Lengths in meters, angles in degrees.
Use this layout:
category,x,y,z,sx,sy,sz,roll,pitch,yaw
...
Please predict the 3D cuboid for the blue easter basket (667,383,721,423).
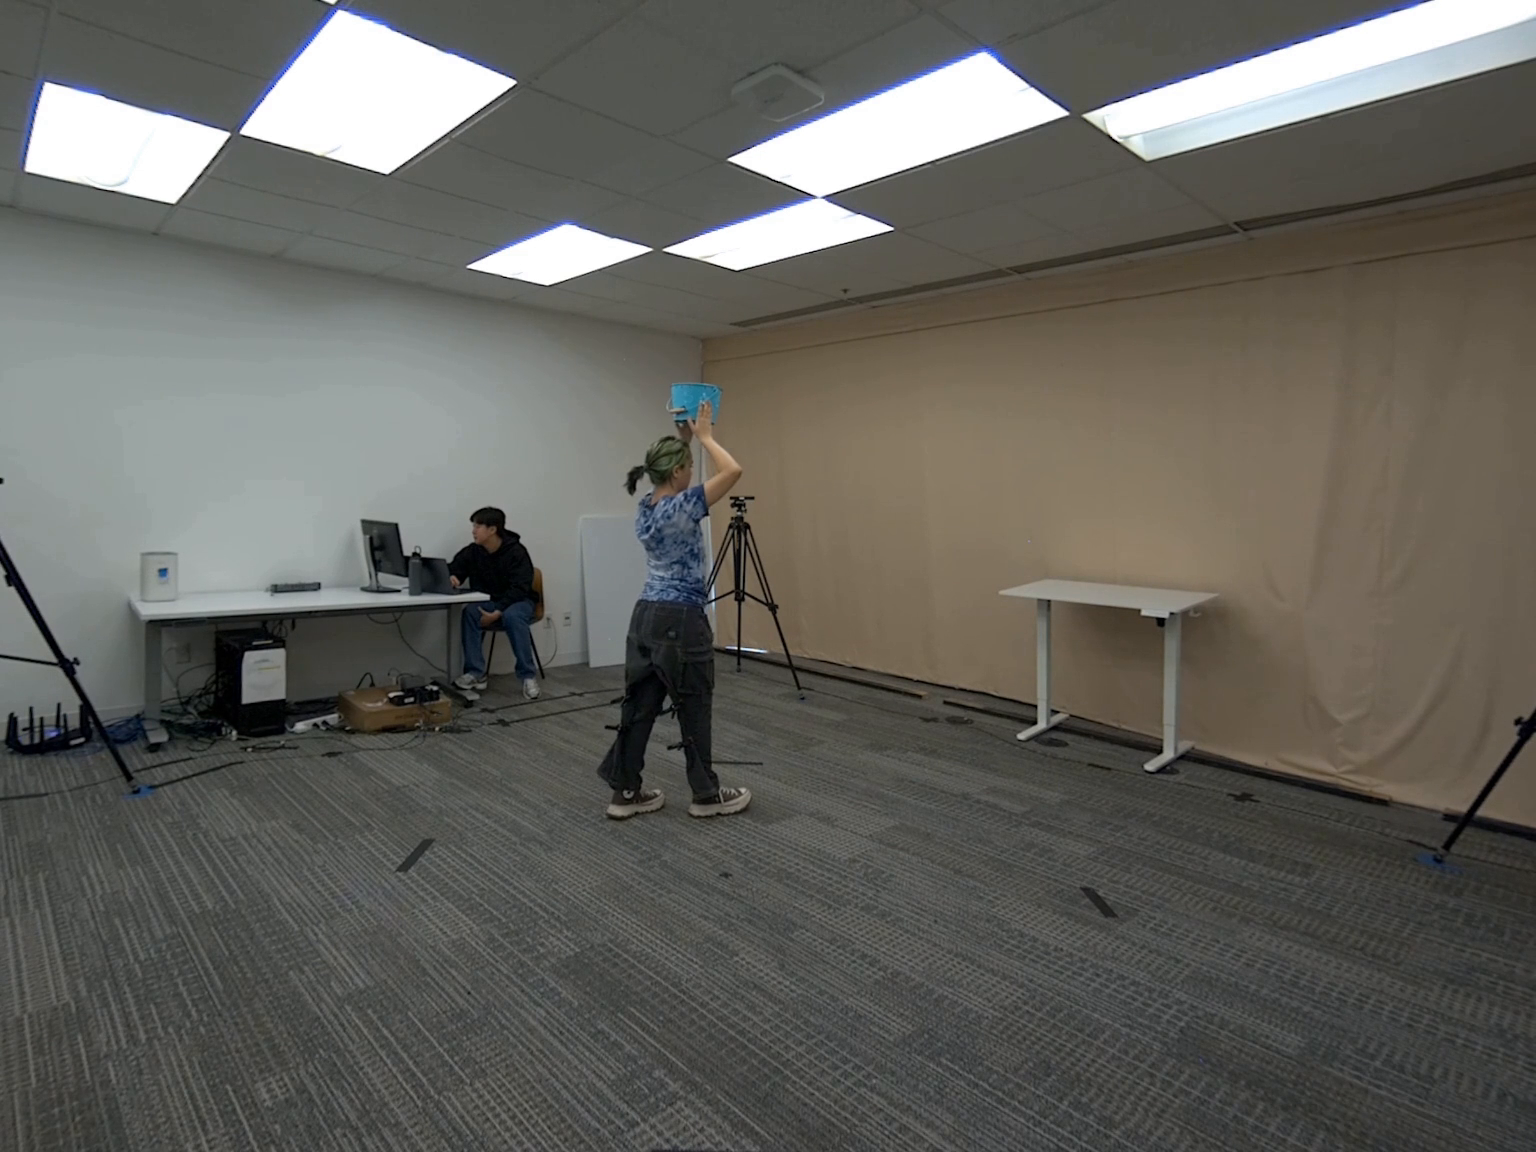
category,x,y,z,sx,sy,sz,roll,pitch,yaw
blue easter basket,-0.338,-0.756,3.697,0.243,0.156,0.243,6,0,-1
